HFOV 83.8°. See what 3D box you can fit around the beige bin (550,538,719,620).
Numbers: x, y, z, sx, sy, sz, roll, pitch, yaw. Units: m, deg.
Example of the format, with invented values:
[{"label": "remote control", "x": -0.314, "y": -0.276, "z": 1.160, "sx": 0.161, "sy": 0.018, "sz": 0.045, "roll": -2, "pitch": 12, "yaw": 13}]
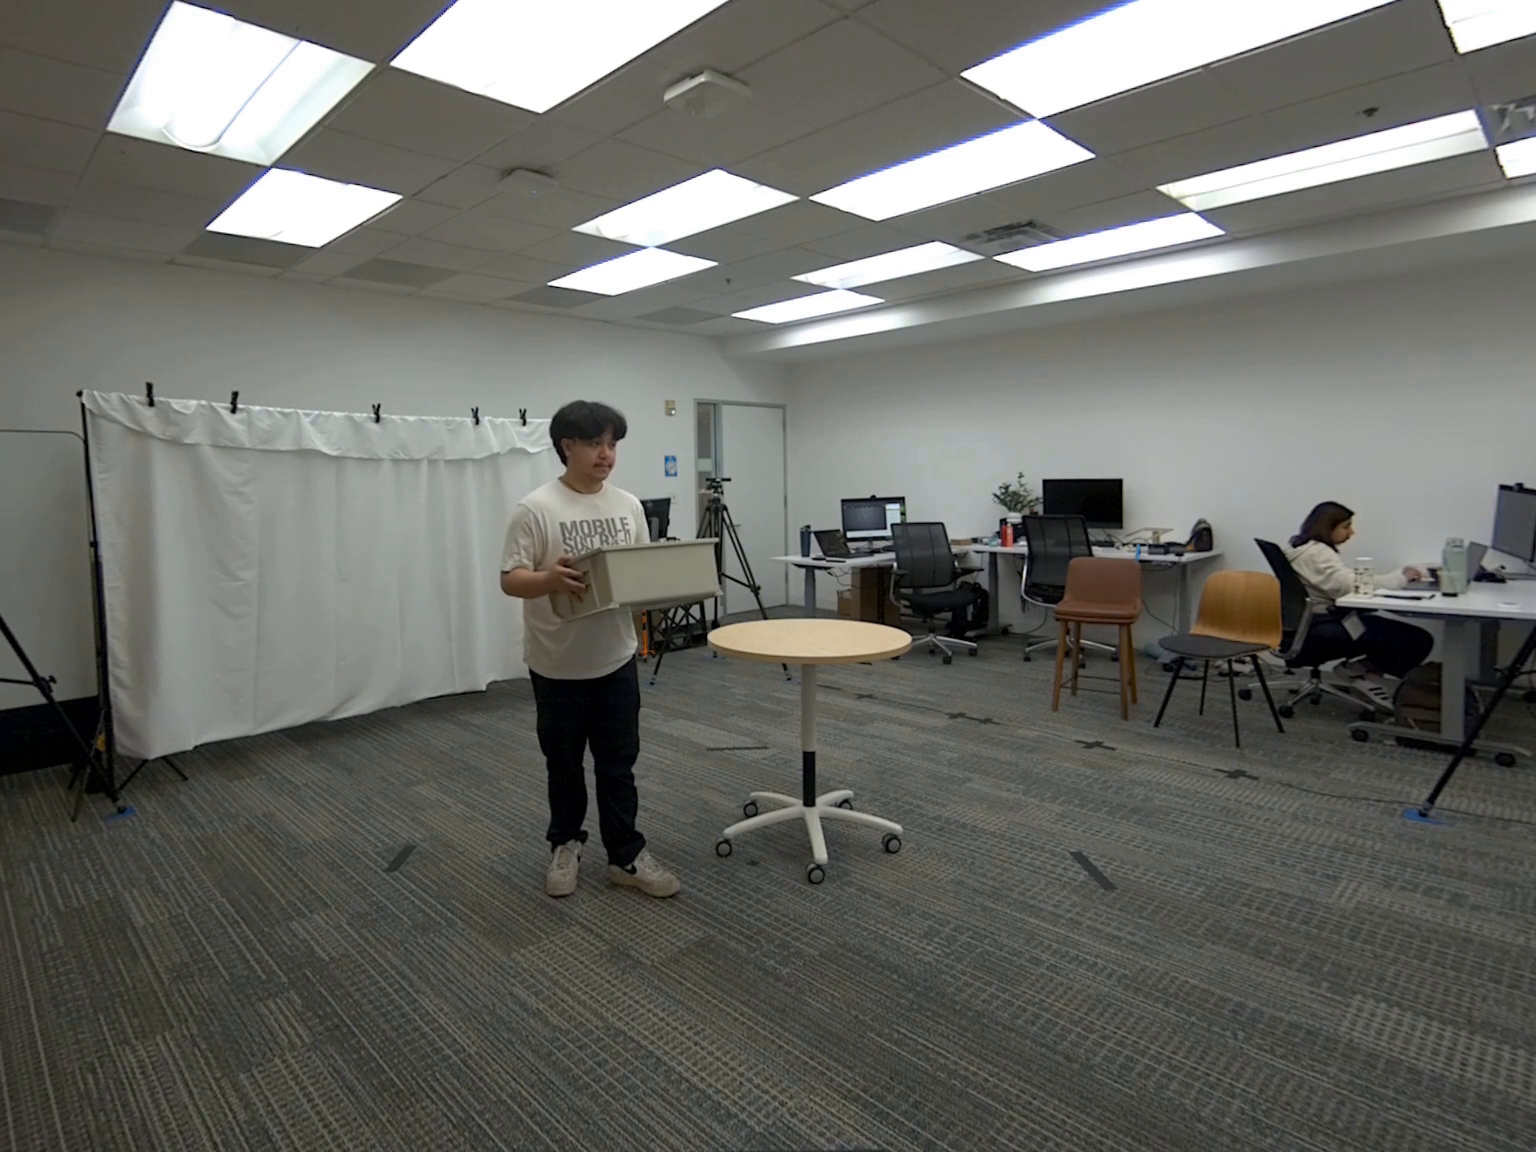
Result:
[{"label": "beige bin", "x": -0.417, "y": 0.018, "z": 2.676, "sx": 0.411, "sy": 0.190, "sz": 0.385, "roll": -5, "pitch": -5, "yaw": -39}]
